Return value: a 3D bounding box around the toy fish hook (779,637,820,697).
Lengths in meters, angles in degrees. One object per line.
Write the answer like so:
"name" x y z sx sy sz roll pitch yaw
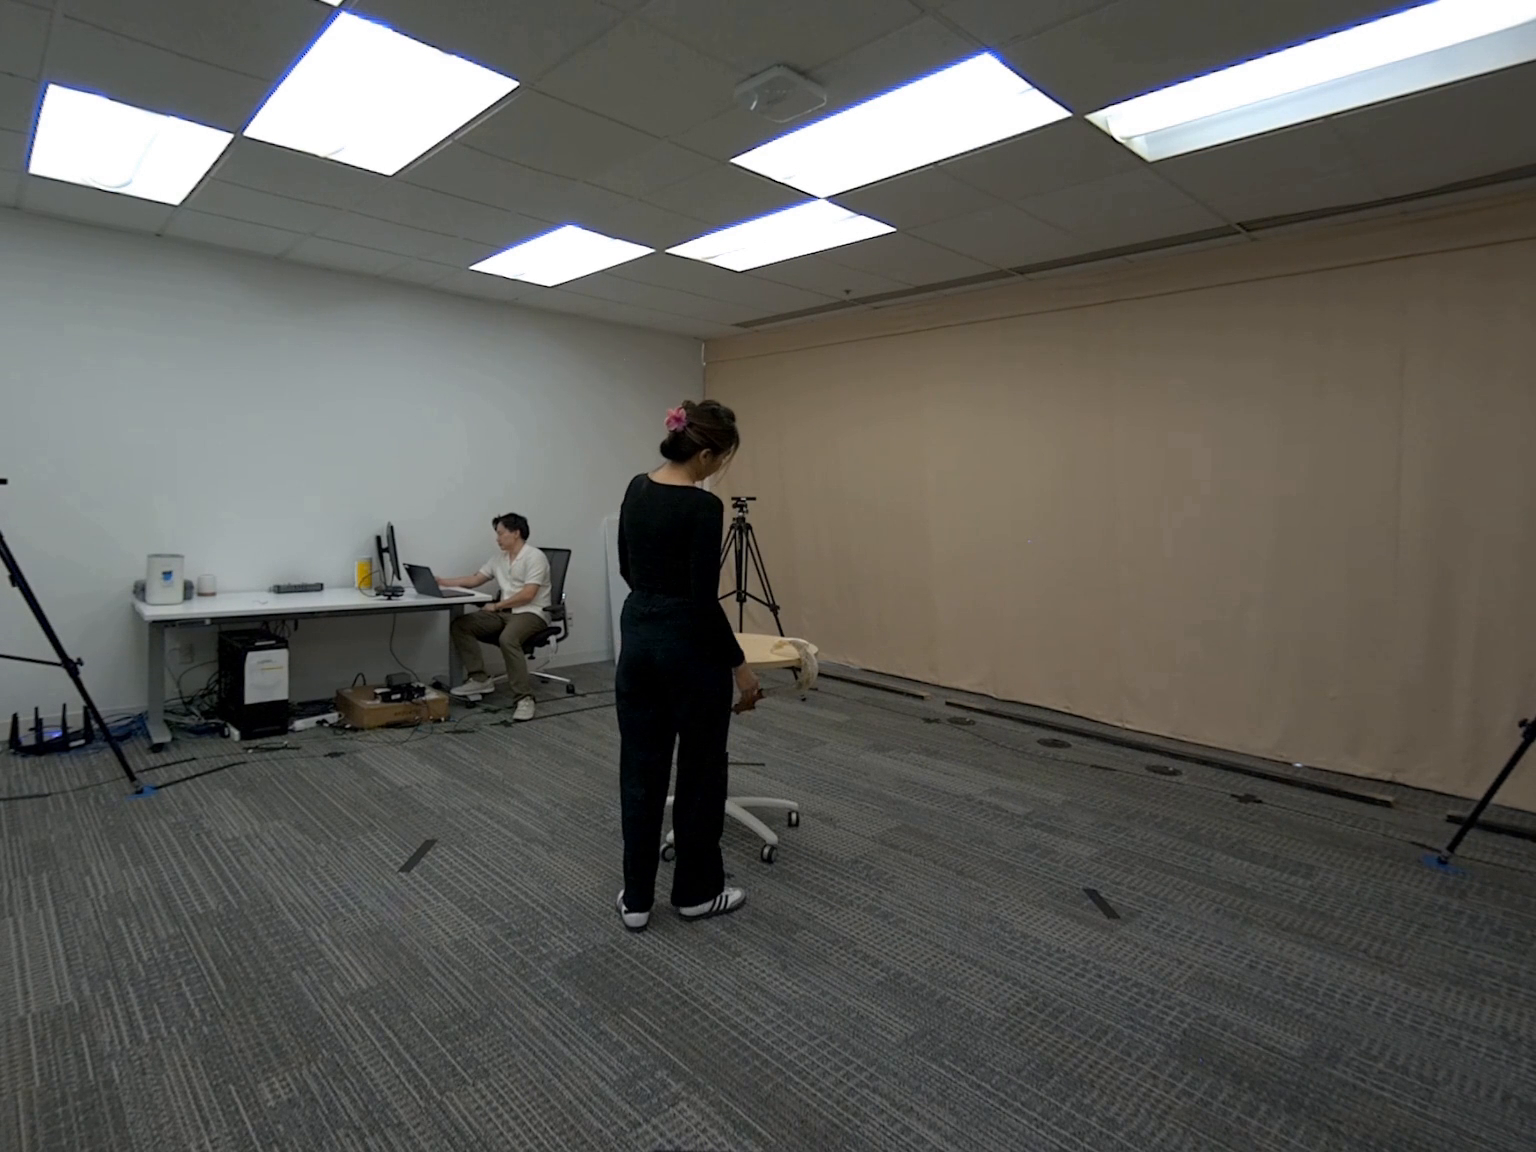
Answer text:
"toy fish hook" 0.004 0.408 3.356 0.510 0.228 0.047 -32 -21 37
